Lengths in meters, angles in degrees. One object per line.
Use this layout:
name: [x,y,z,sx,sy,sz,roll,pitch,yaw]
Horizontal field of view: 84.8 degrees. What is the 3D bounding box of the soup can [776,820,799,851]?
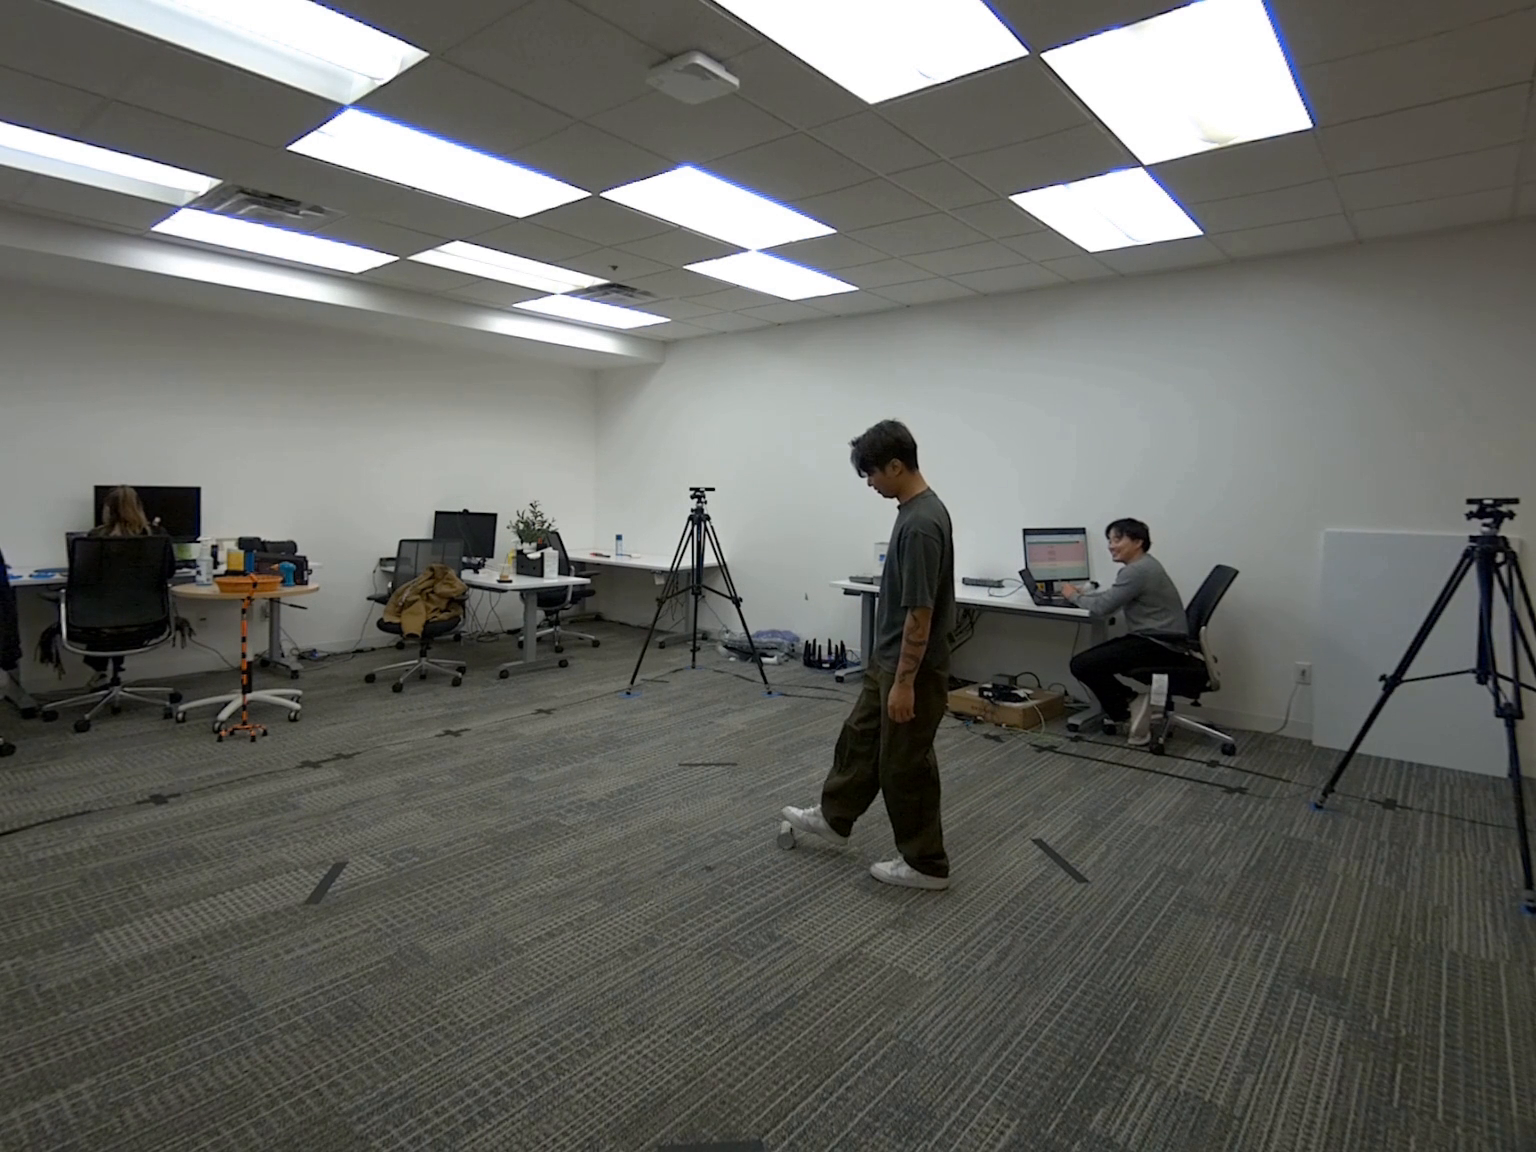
soup can: [0.069,1.011,3.361,0.067,0.066,0.122,1,11,0]
